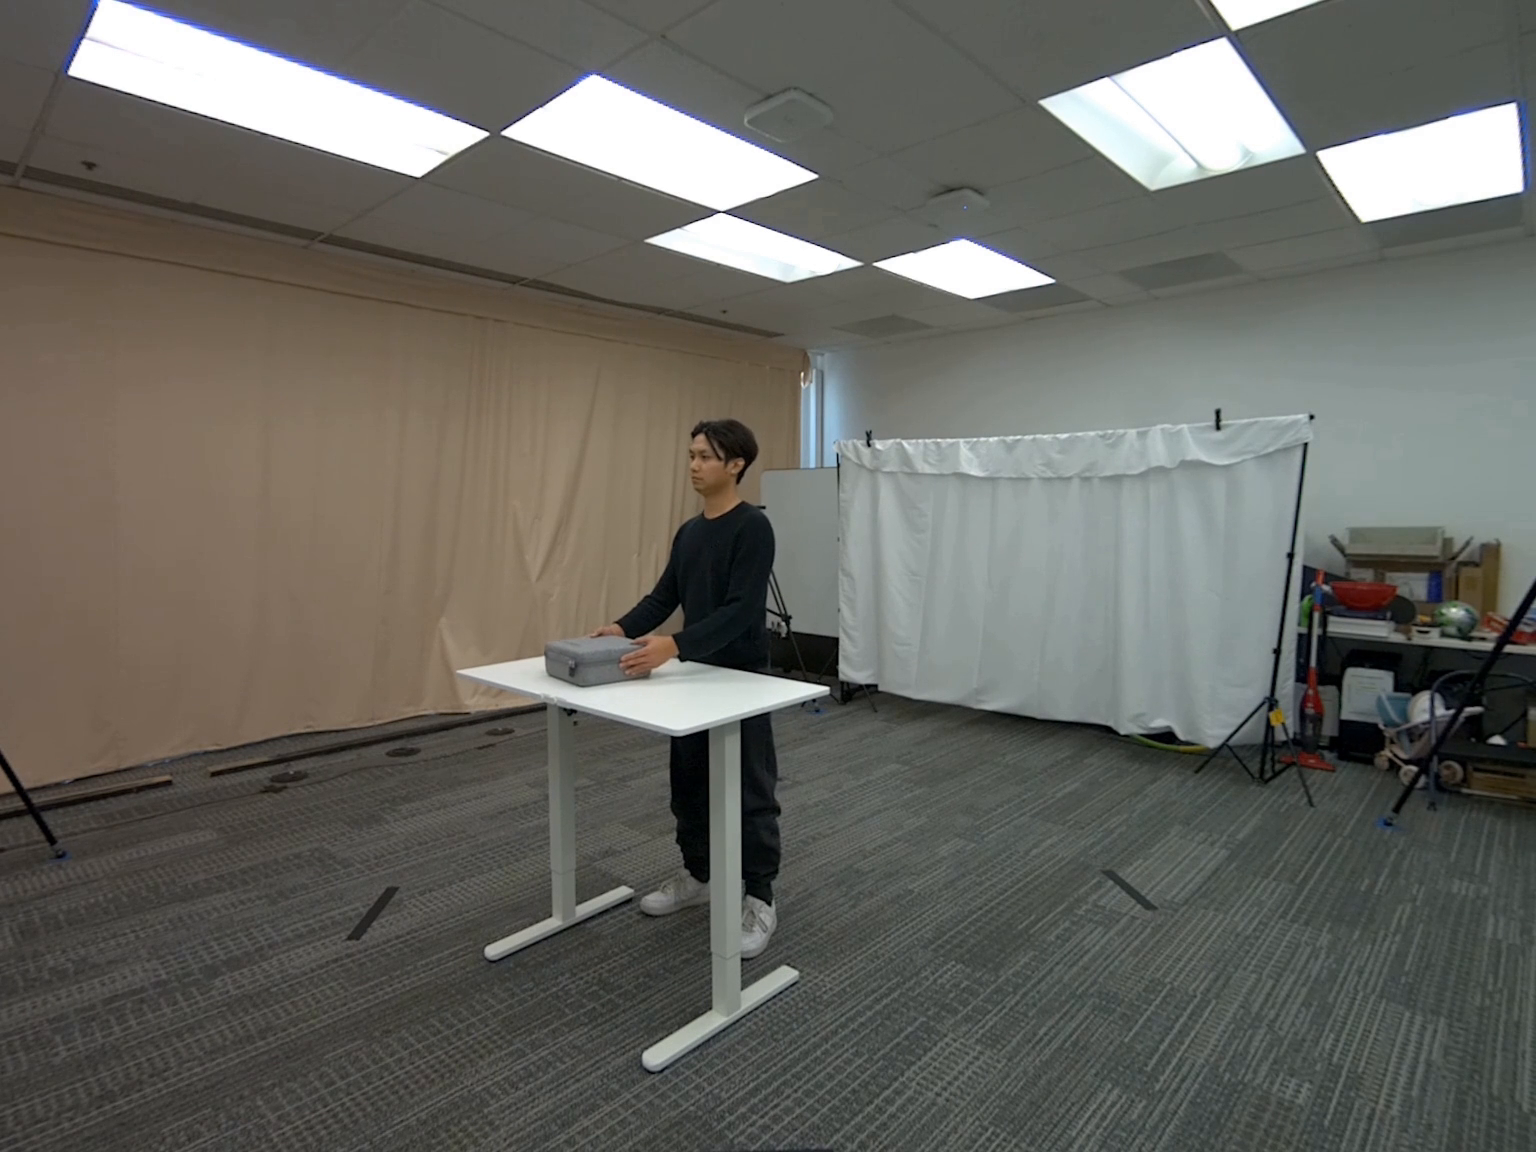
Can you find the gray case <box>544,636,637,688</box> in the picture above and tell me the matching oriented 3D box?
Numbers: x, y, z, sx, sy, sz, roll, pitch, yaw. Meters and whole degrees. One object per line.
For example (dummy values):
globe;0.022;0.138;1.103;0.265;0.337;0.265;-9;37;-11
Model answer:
gray case;-0.510;0.250;2.535;0.253;0.104;0.265;-5;6;-40
